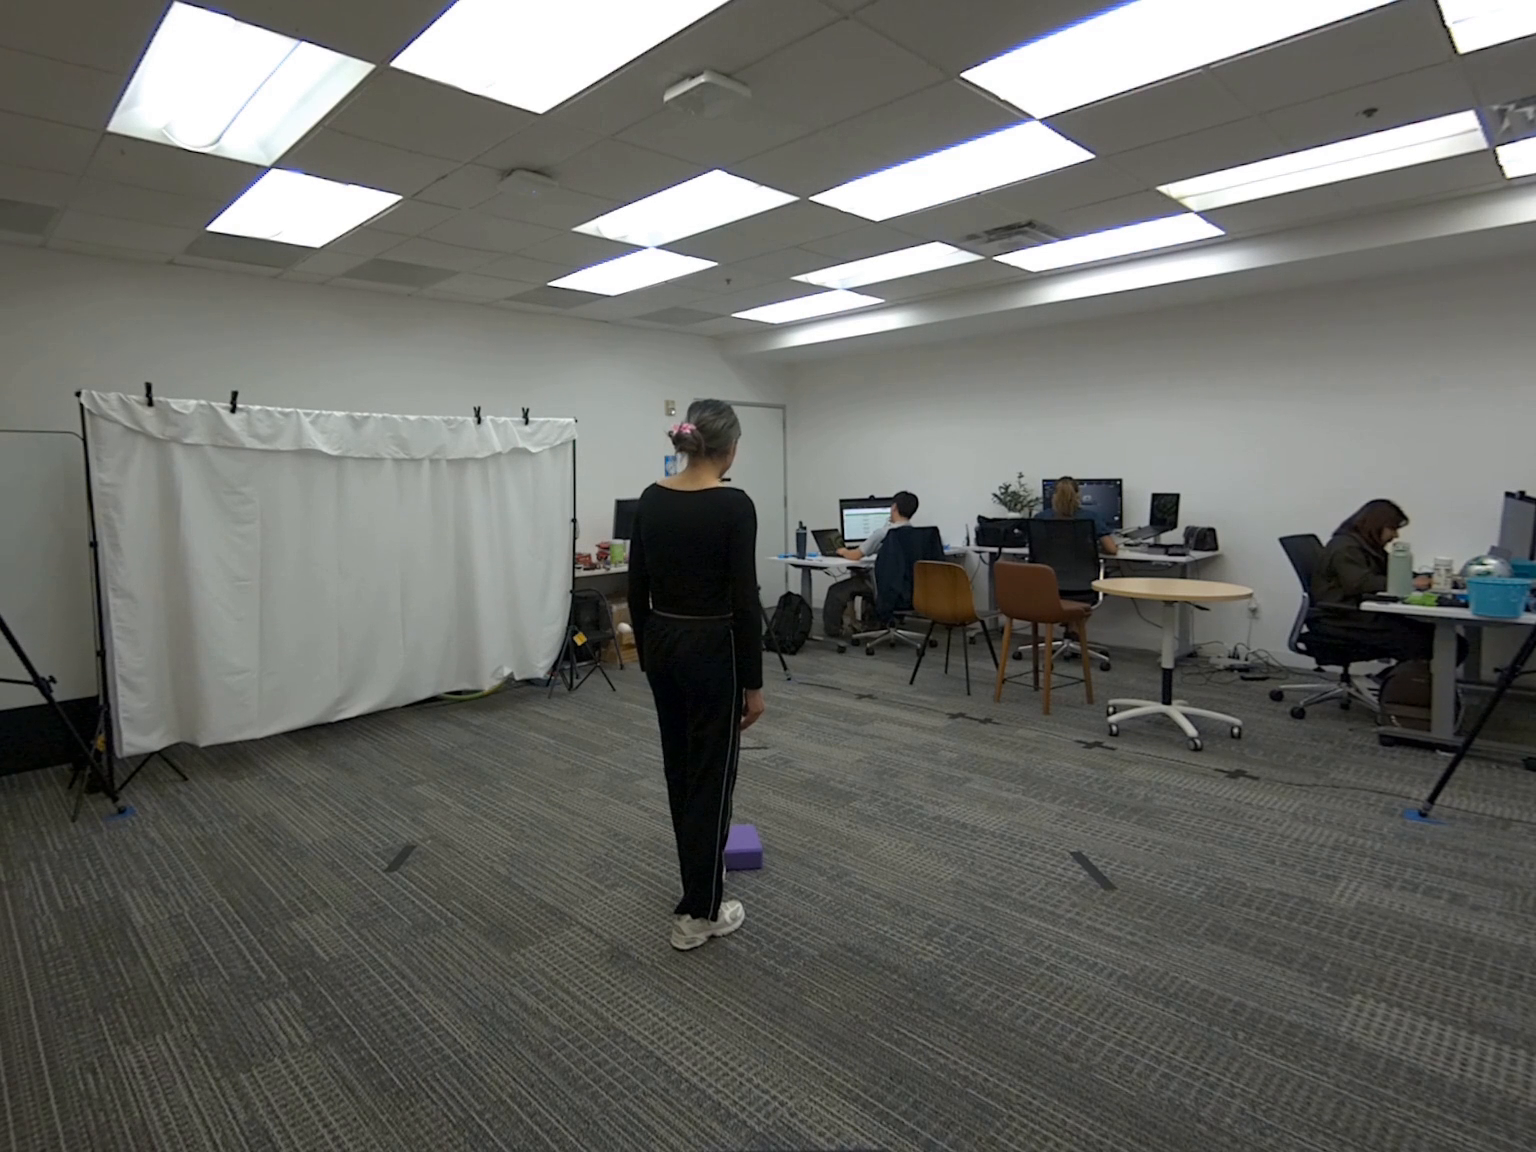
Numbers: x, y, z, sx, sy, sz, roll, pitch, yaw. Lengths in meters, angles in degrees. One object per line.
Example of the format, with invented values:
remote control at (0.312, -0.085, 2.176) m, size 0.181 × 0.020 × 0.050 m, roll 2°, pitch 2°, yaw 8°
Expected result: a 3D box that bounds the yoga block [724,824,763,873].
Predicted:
yoga block at (-0.104, 0.998, 3.154) m, size 0.148 × 0.076 × 0.232 m, roll -1°, pitch 7°, yaw -8°
